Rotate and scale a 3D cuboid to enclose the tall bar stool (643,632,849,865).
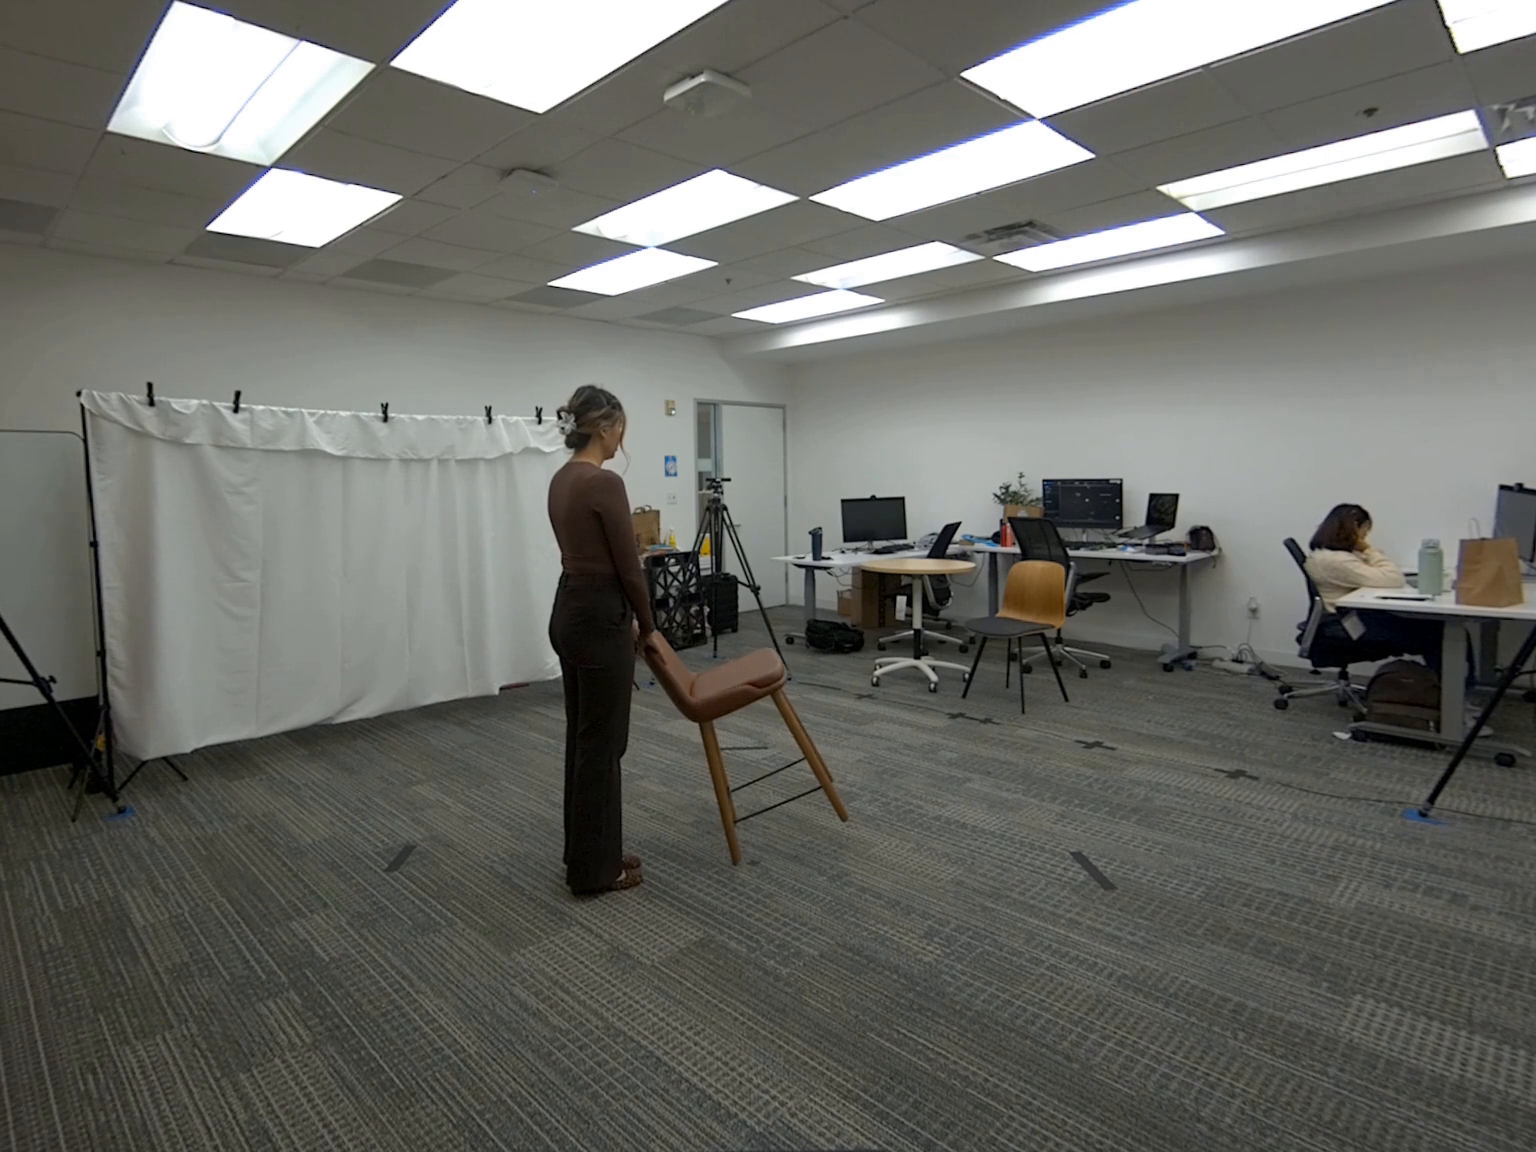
[{"bbox_3d":[-0.102,0.545,3.248,0.468,0.885,0.459,-24,4,0],"label":"tall bar stool"}]
